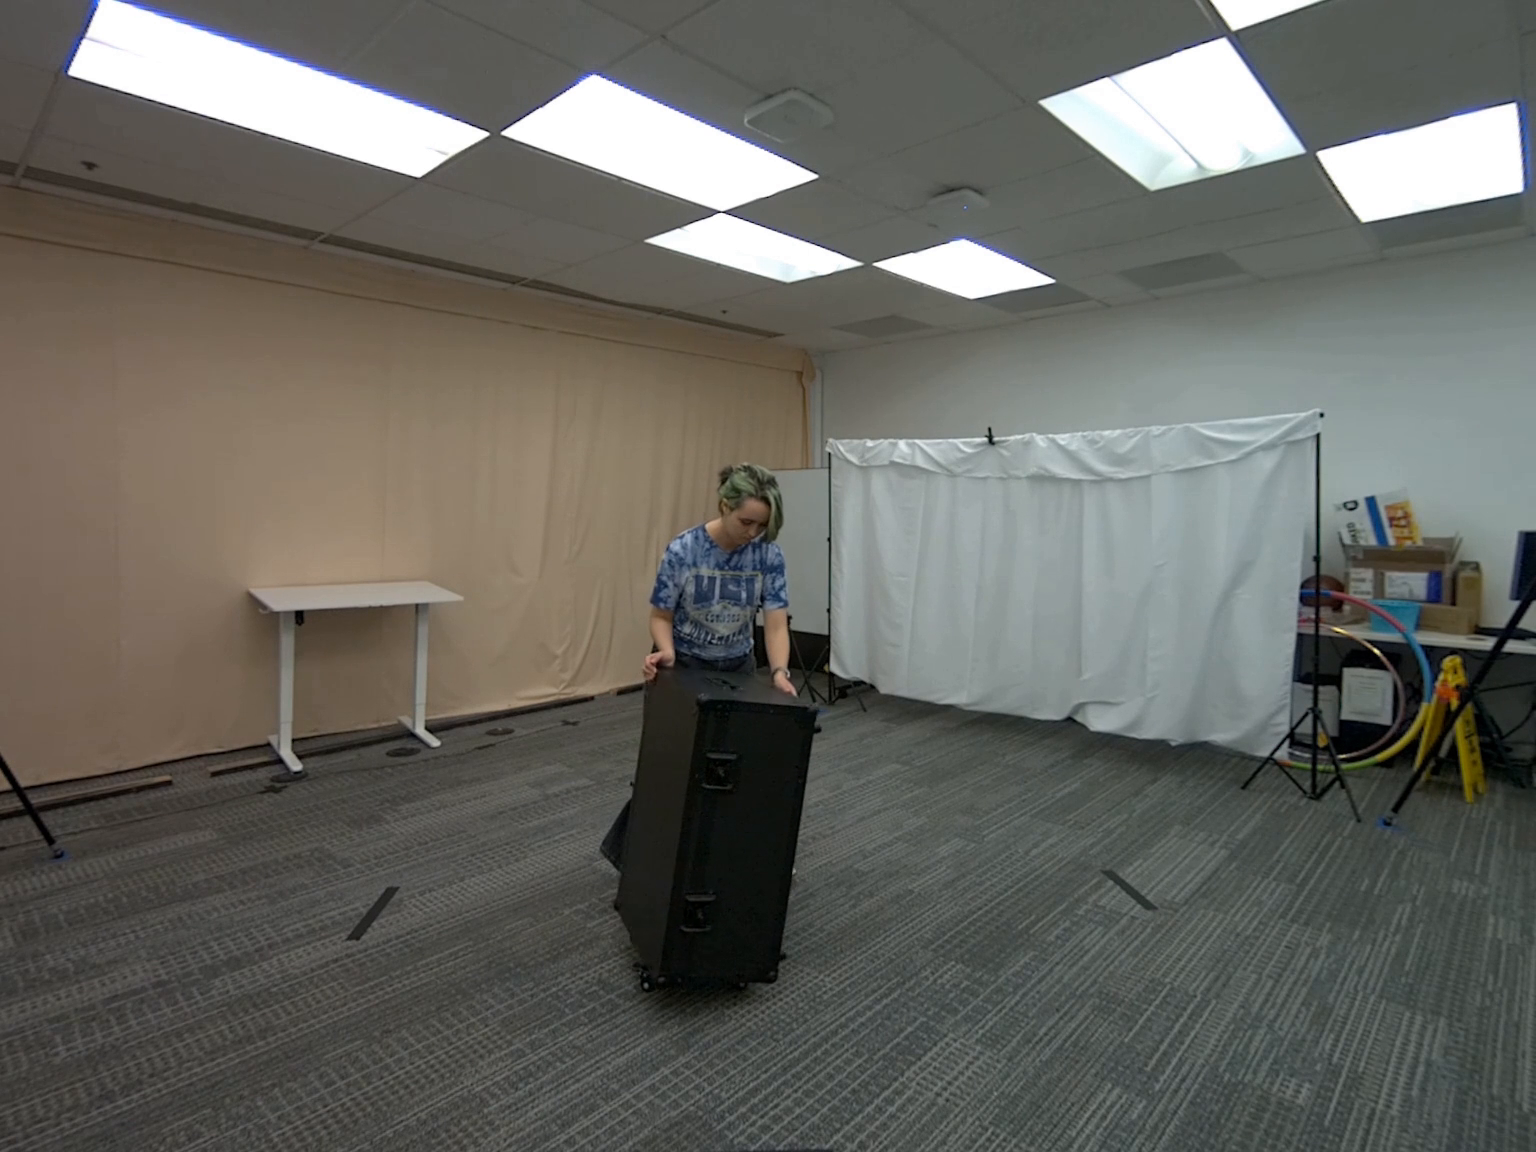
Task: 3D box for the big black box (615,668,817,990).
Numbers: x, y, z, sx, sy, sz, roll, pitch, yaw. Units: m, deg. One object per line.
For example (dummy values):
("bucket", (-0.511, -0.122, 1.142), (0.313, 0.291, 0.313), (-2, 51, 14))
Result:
("big black box", (-0.158, 0.742, 2.512), (0.387, 0.861, 0.533), (10, 0, -21))
